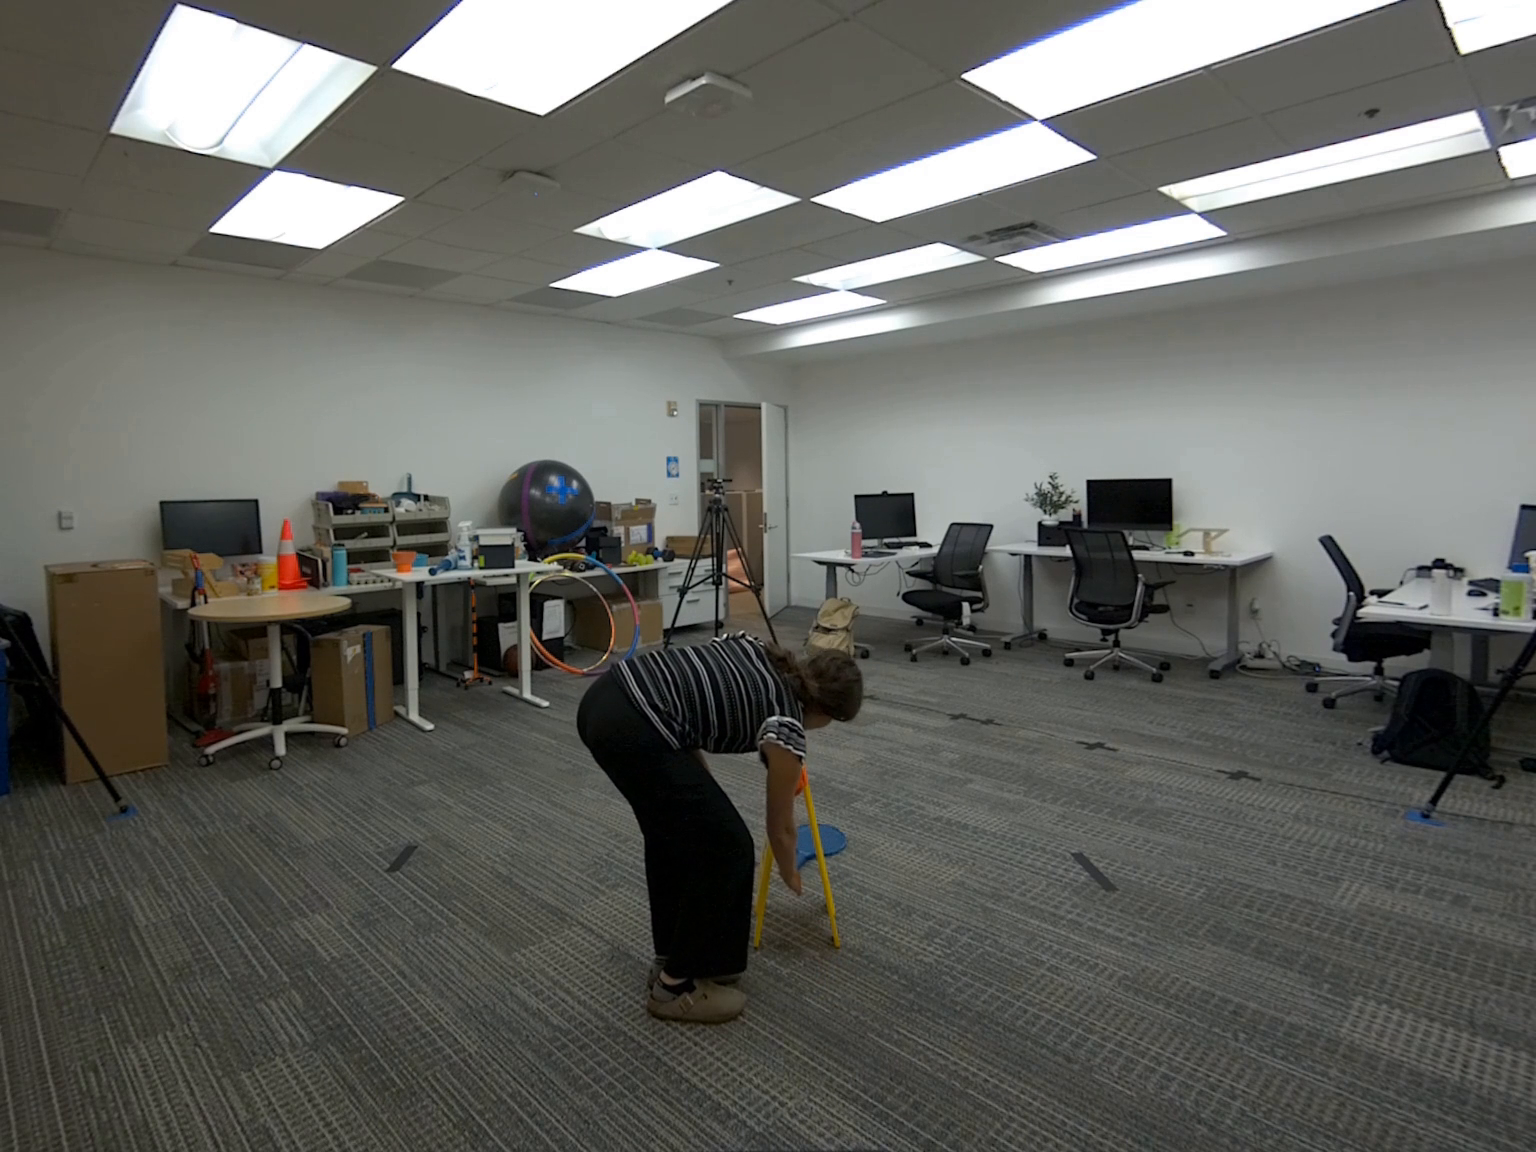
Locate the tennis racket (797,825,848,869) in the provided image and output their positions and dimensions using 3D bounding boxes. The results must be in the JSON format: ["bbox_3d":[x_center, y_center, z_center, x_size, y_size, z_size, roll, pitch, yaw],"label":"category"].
[{"bbox_3d":[0.160,1.011,3.169,0.218,0.031,0.426,6,8,20],"label":"tennis racket"}]
